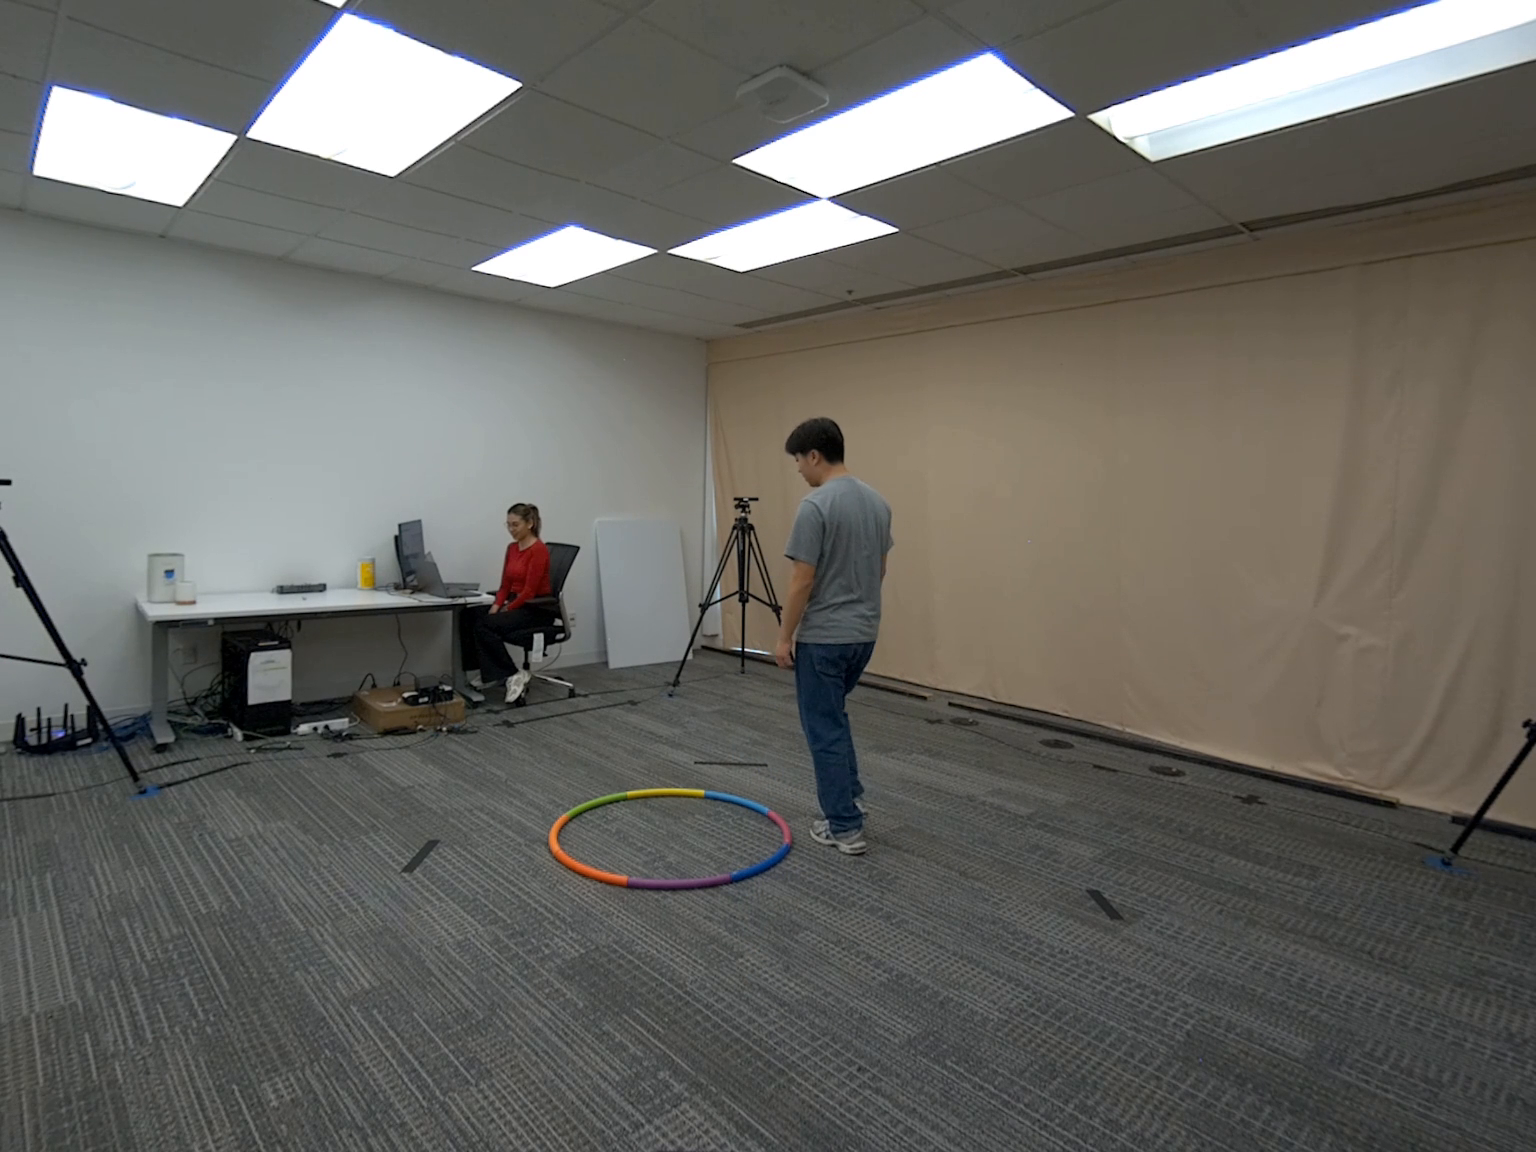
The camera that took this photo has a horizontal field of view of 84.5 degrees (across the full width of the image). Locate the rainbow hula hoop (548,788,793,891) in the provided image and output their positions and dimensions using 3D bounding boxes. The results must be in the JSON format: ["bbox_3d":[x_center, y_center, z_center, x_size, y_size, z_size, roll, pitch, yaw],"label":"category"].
[{"bbox_3d":[-0.408,1.041,3.462,0.978,0.035,0.982,2,5,-1],"label":"rainbow hula hoop"}]
